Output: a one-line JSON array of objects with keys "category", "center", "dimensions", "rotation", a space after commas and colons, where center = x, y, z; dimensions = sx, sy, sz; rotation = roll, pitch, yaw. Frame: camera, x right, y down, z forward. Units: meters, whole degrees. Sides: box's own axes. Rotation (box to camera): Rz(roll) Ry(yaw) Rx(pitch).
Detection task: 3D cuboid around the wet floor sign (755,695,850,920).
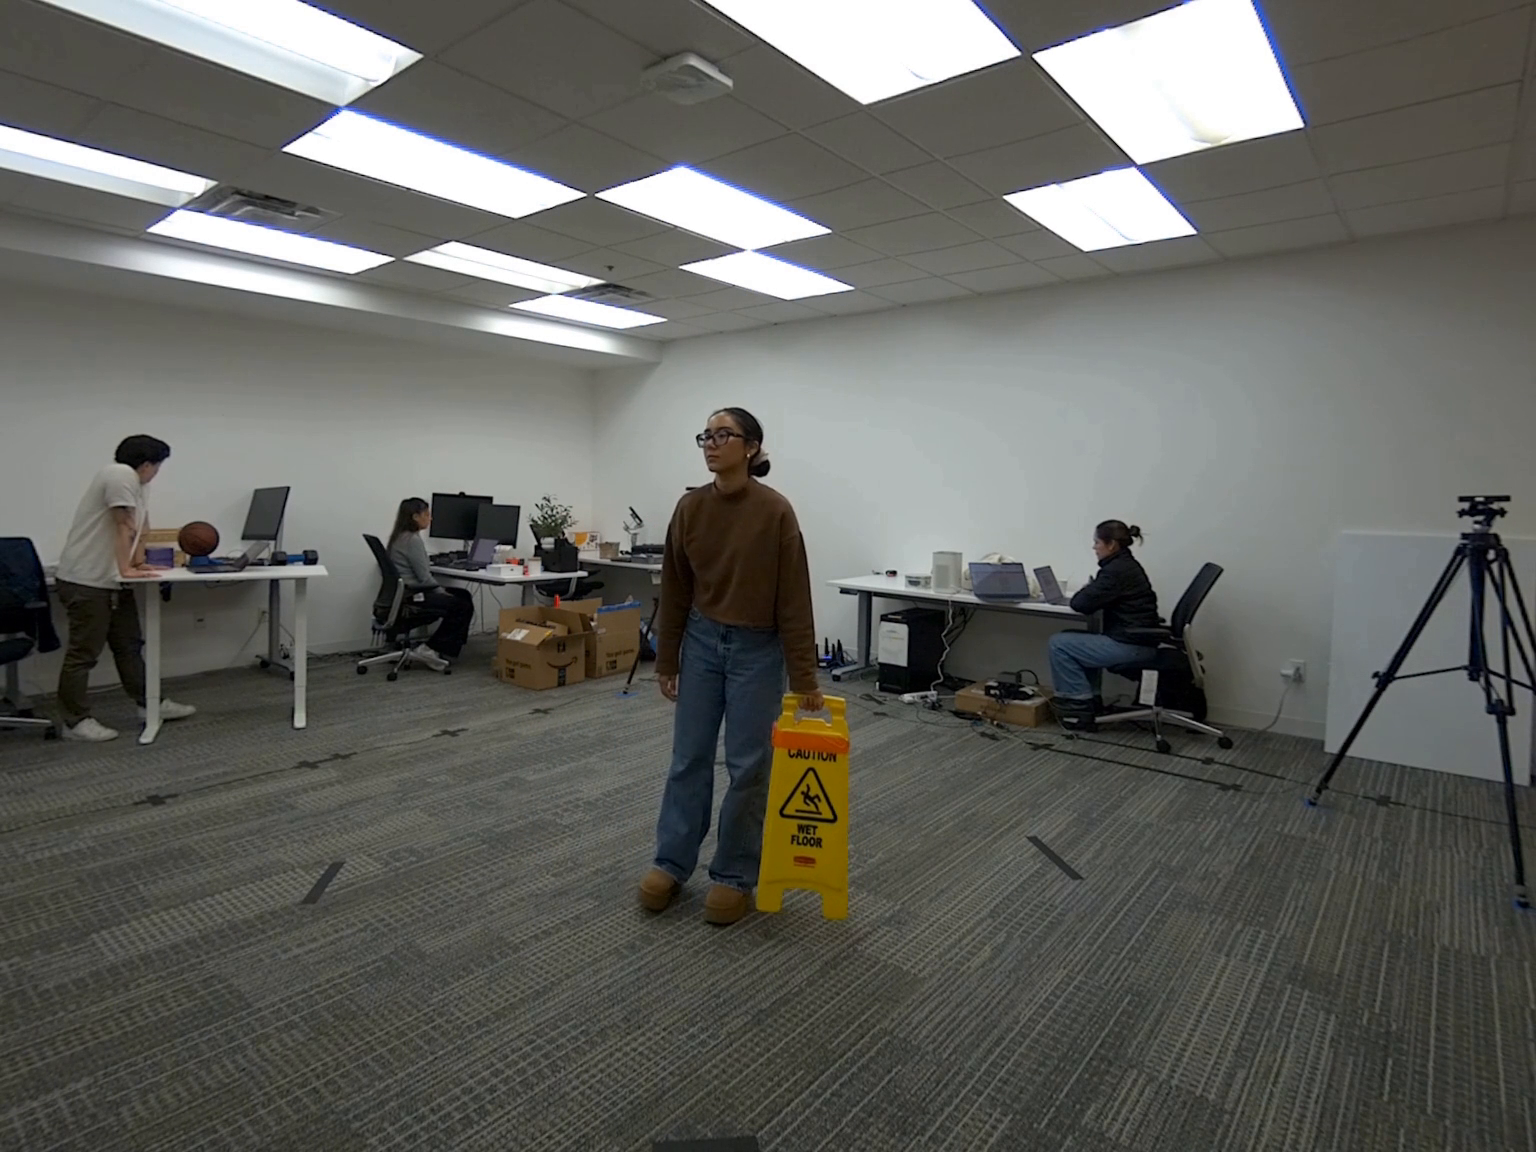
[{"category": "wet floor sign", "center": [0.127, 0.697, 2.699], "dimensions": [0.284, 0.643, 0.289], "rotation": [4, 5, 3]}]
